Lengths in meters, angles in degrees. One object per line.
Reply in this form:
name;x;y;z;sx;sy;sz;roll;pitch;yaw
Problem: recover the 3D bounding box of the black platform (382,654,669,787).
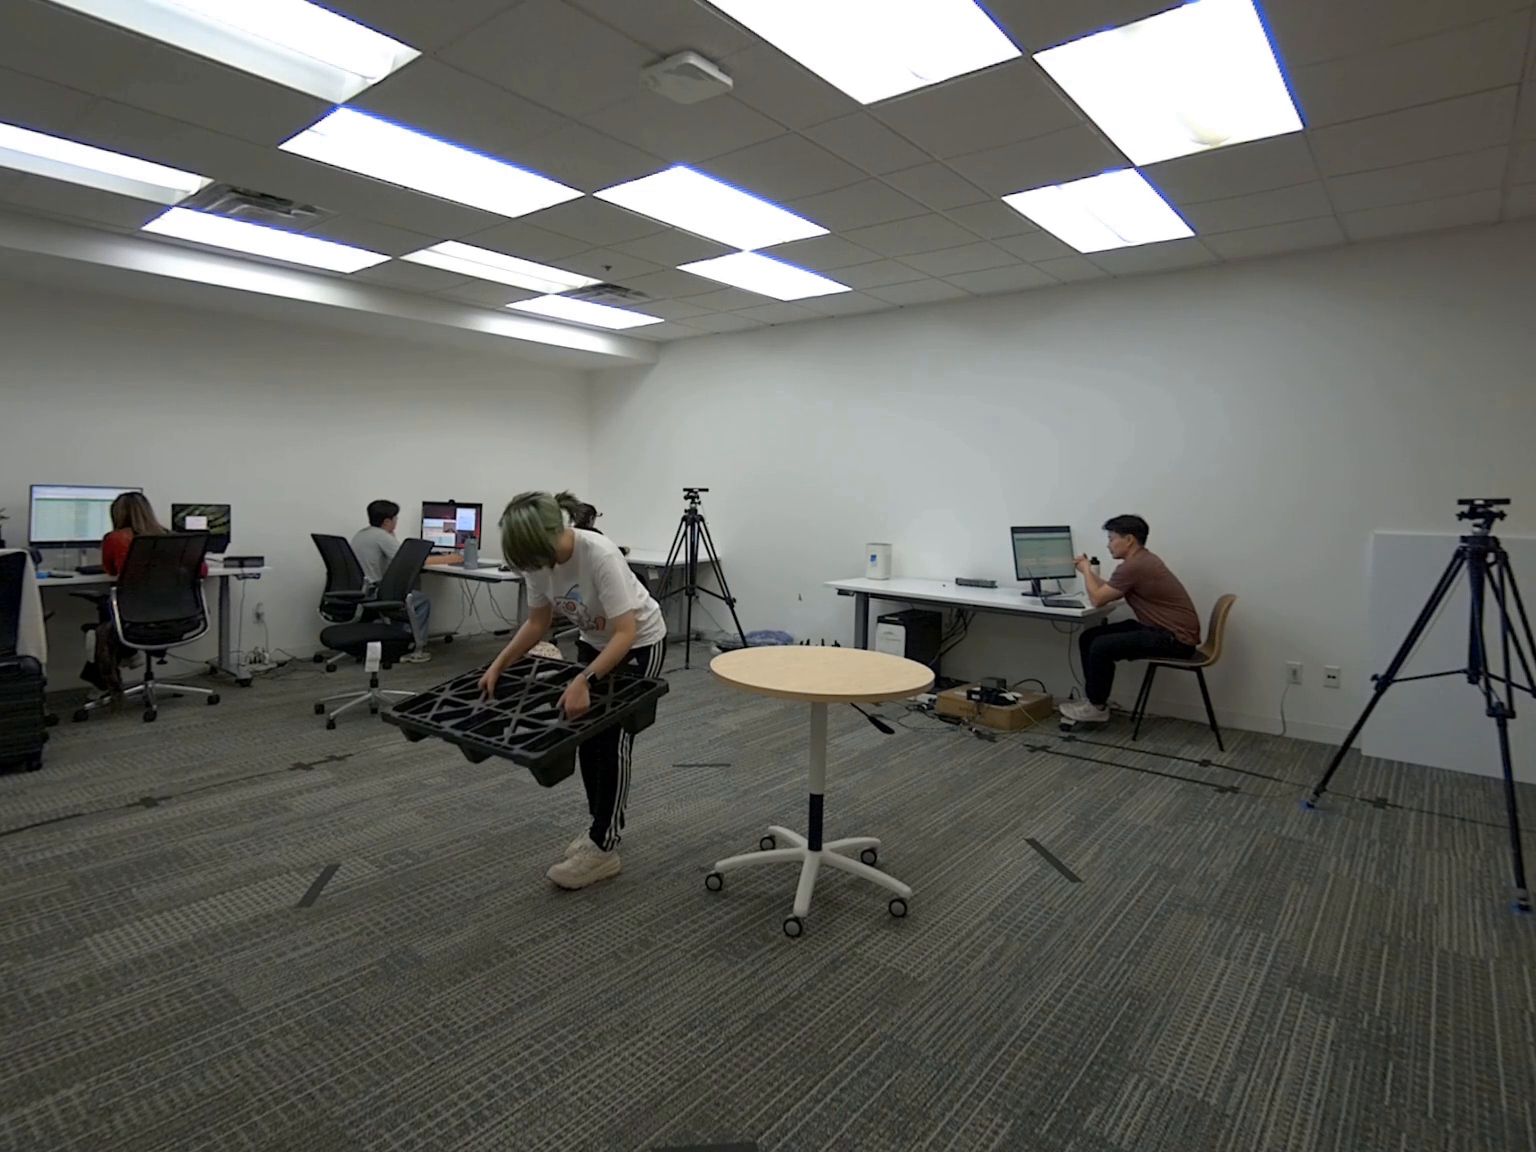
black platform;-0.829;0.467;2.851;0.832;0.141;0.595;4;19;37
